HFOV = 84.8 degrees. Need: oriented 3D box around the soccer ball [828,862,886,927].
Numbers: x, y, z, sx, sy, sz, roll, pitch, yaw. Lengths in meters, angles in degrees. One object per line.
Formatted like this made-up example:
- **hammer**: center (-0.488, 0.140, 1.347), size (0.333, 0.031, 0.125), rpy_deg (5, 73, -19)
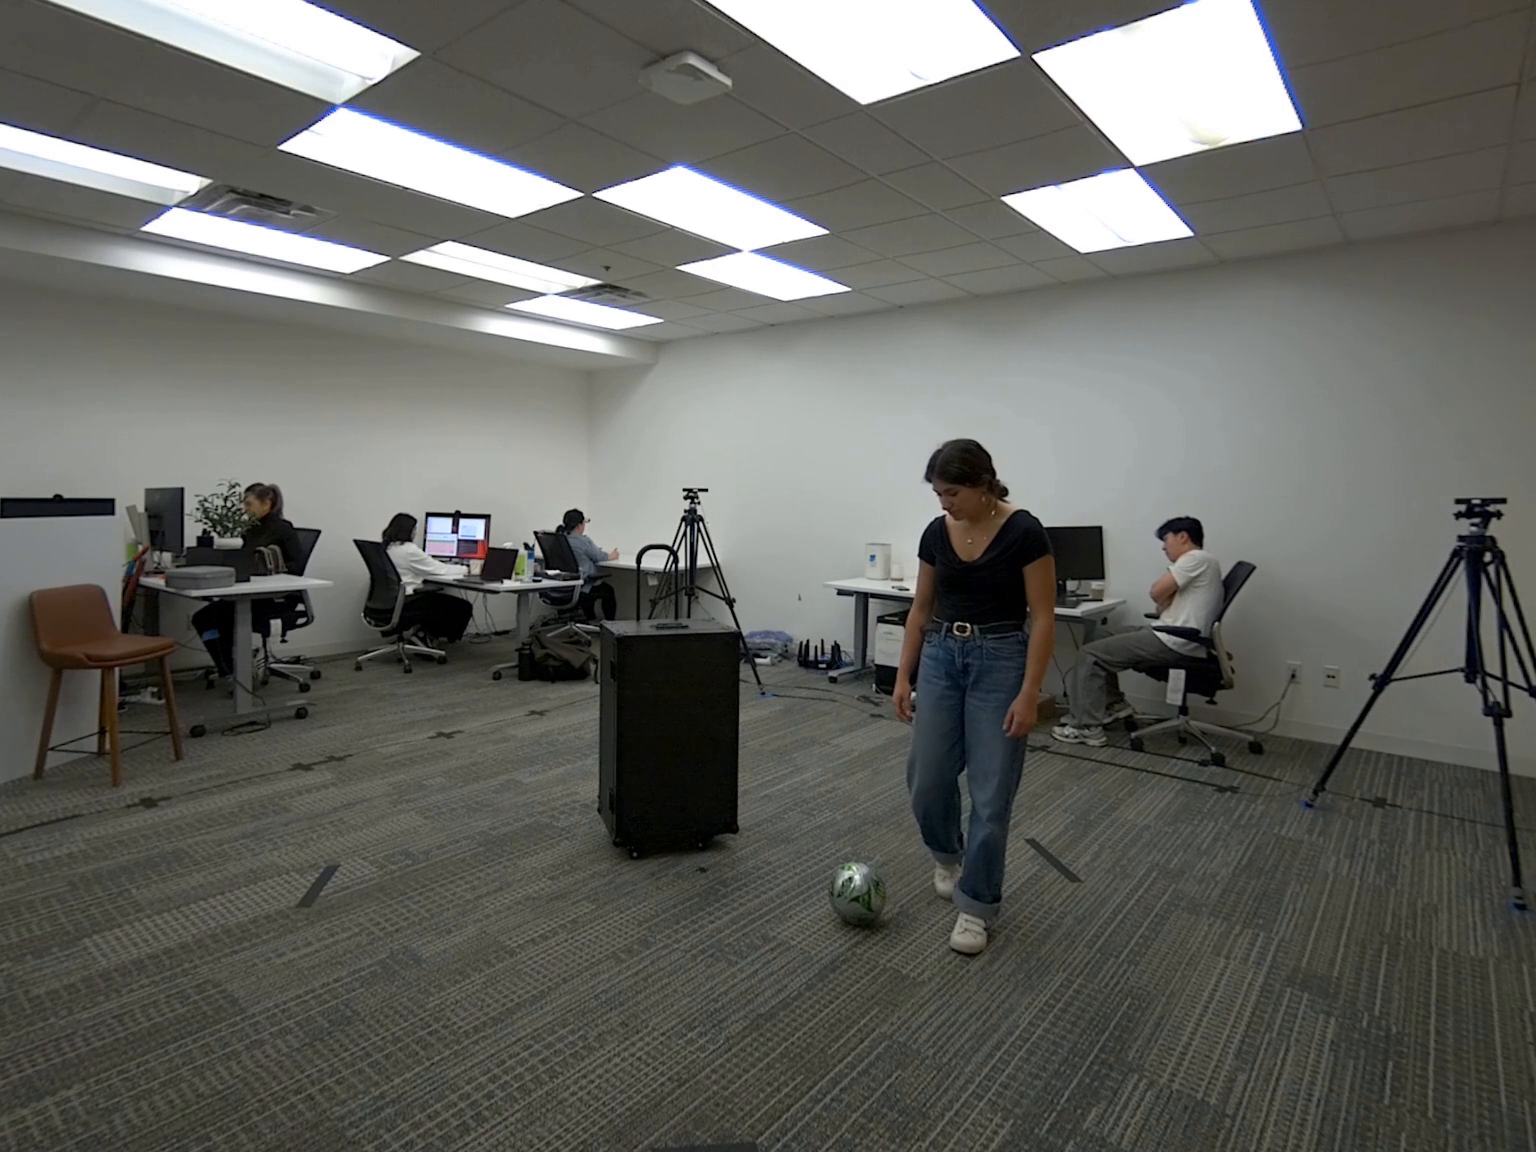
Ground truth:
- **soccer ball**: center (0.291, 1.021, 2.753), size (0.187, 0.187, 0.188), rpy_deg (1, 4, -2)
